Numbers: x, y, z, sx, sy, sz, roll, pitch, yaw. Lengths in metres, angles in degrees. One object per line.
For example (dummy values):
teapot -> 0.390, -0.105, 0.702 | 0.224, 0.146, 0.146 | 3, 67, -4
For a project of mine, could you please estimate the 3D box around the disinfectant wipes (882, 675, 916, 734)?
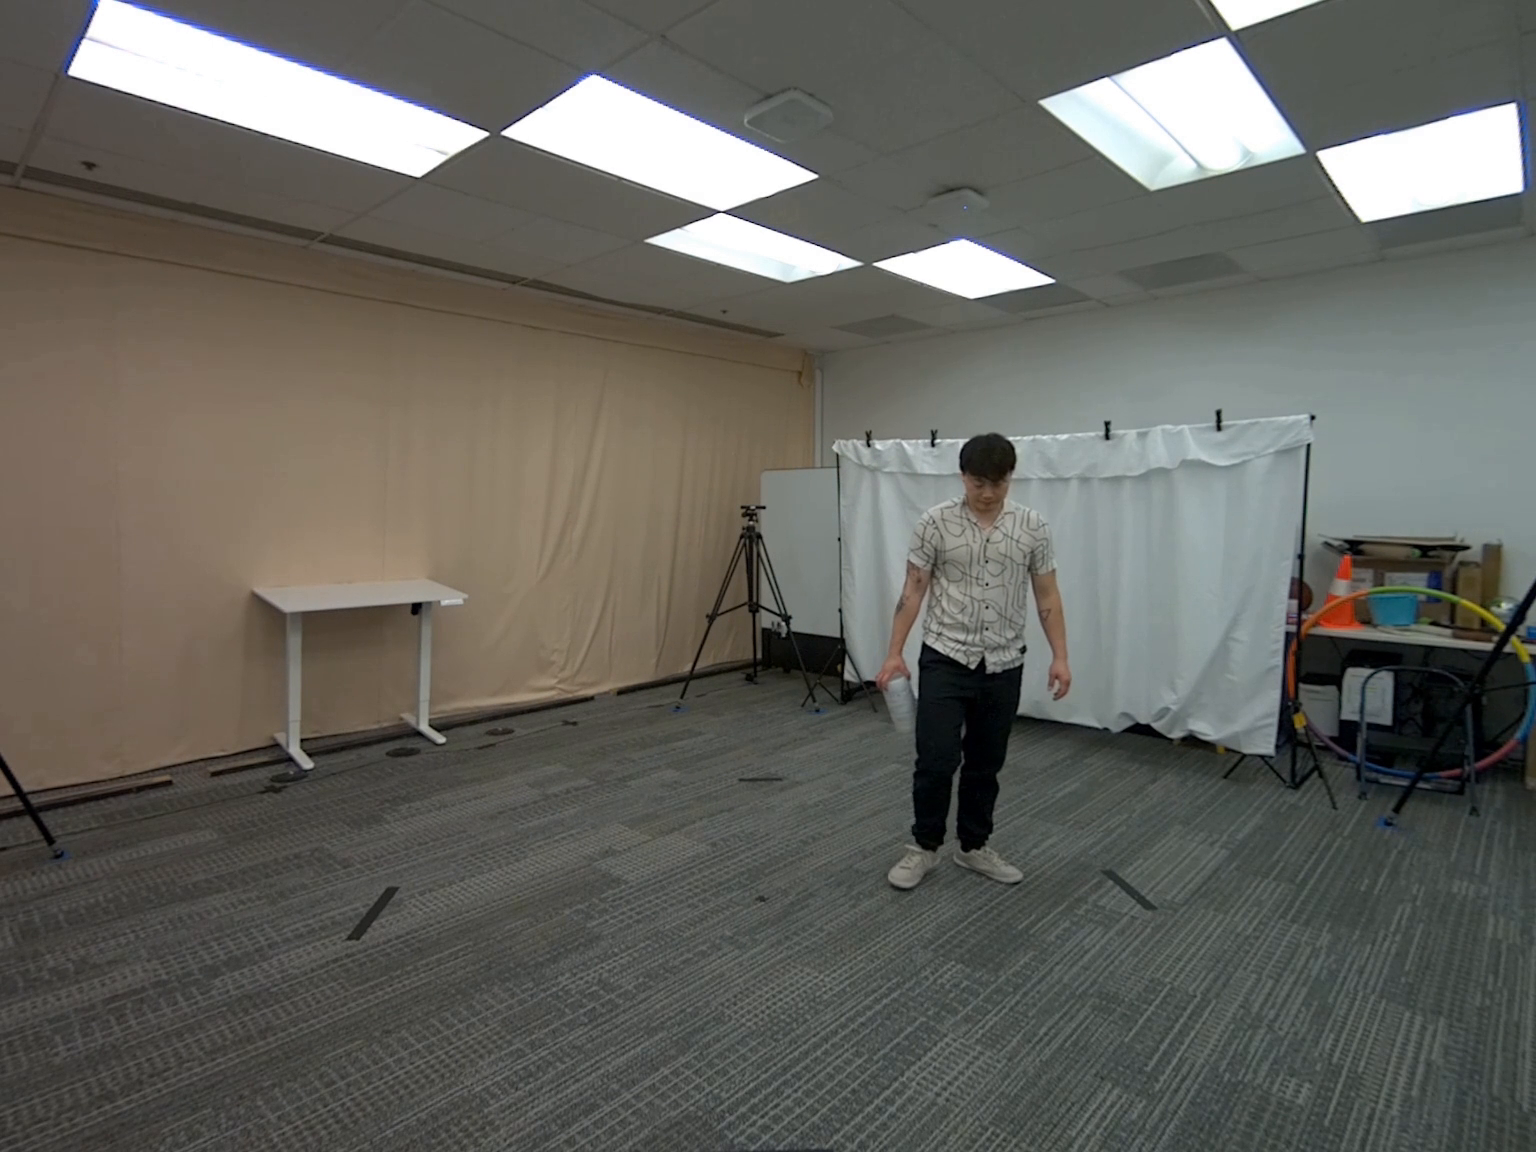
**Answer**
disinfectant wipes -> 0.515, 0.488, 3.201 | 0.118, 0.216, 0.118 | -17, 9, 1
